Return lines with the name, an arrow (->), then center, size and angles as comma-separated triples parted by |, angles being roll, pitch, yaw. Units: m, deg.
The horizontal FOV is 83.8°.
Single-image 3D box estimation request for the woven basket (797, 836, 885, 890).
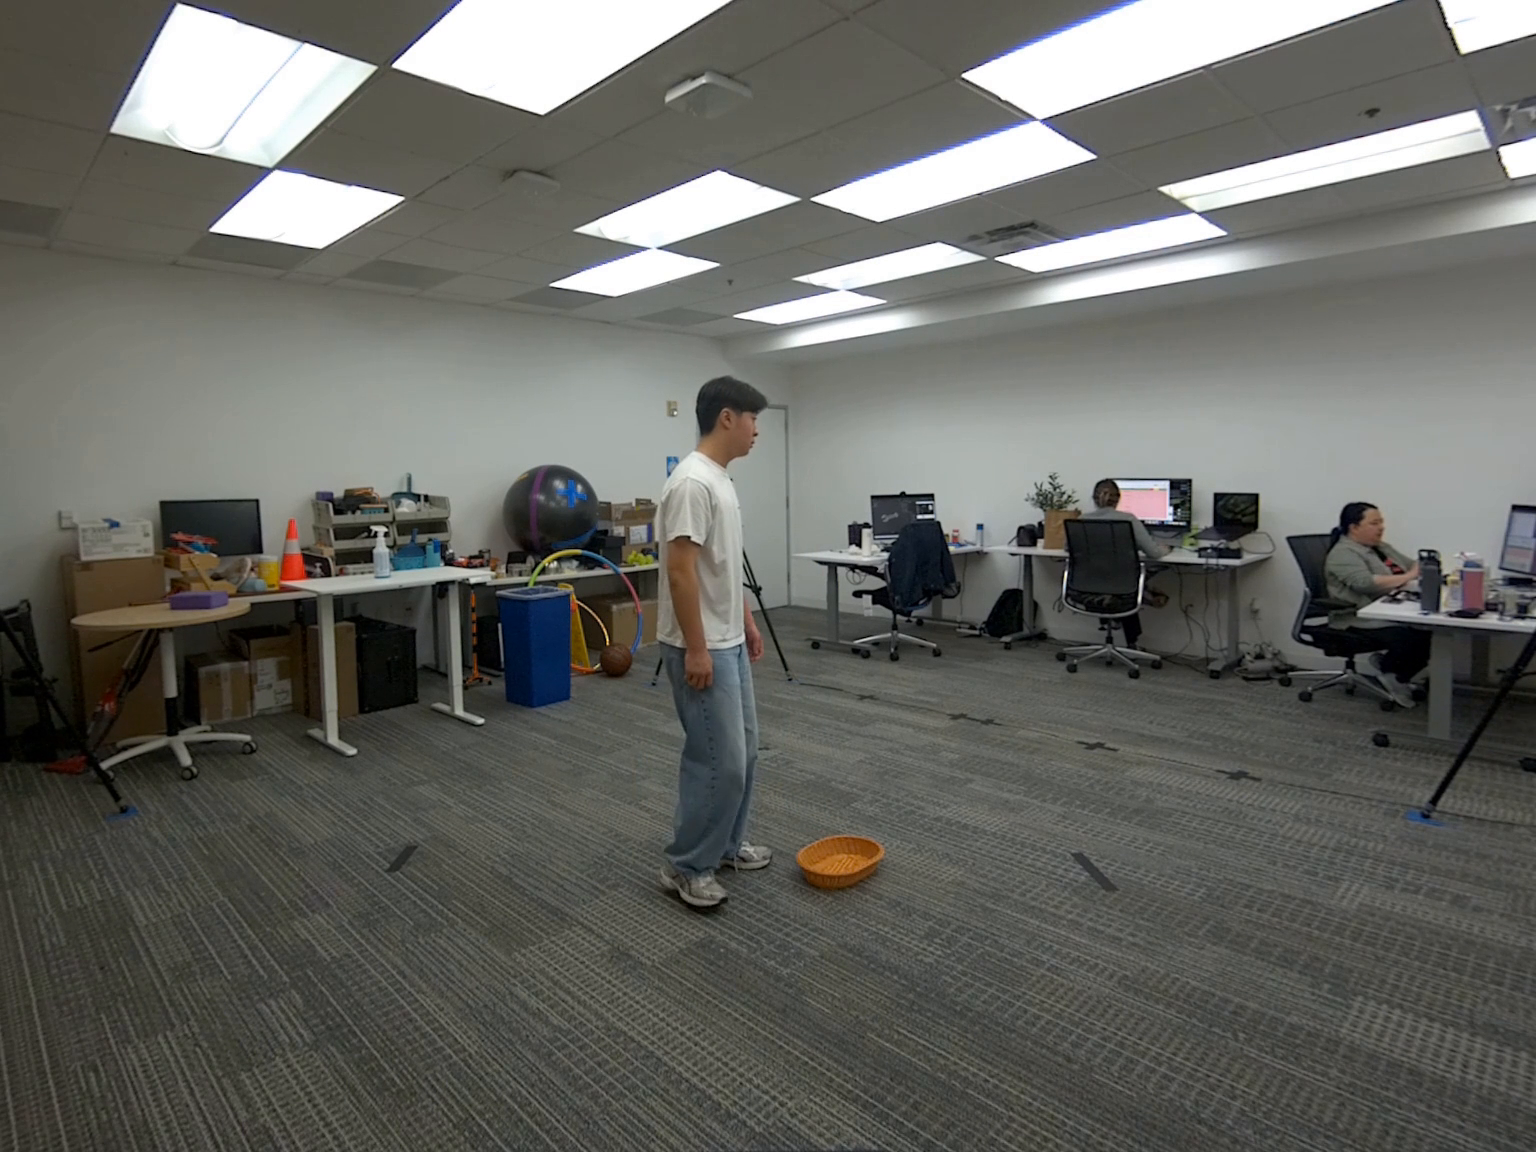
woven basket -> 0.257, 1.007, 3.016 | 0.260, 0.073, 0.341 | 5, 9, 44
